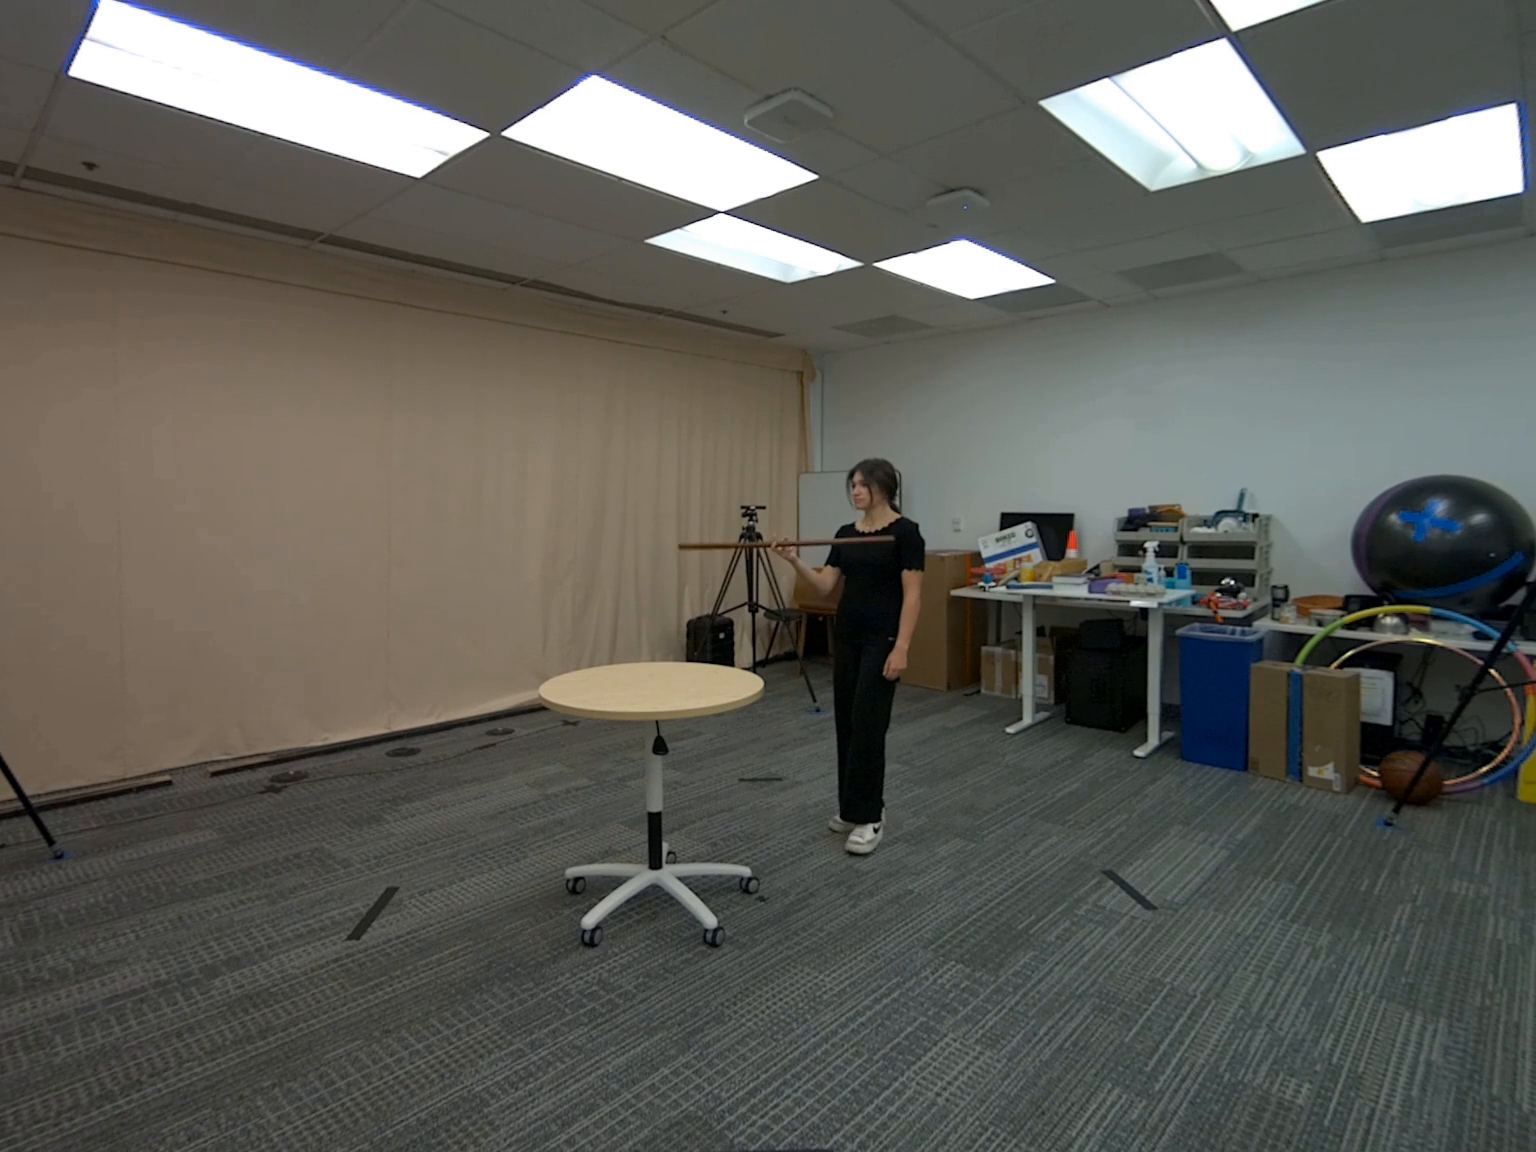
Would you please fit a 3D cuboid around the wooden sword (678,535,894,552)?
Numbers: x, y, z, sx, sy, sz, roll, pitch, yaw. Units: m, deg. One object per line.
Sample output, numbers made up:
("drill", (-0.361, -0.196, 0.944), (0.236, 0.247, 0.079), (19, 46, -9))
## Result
("wooden sword", (0.029, -0.122, 3.477), (1.057, 0.023, 0.051), (-1, 29, 38))
